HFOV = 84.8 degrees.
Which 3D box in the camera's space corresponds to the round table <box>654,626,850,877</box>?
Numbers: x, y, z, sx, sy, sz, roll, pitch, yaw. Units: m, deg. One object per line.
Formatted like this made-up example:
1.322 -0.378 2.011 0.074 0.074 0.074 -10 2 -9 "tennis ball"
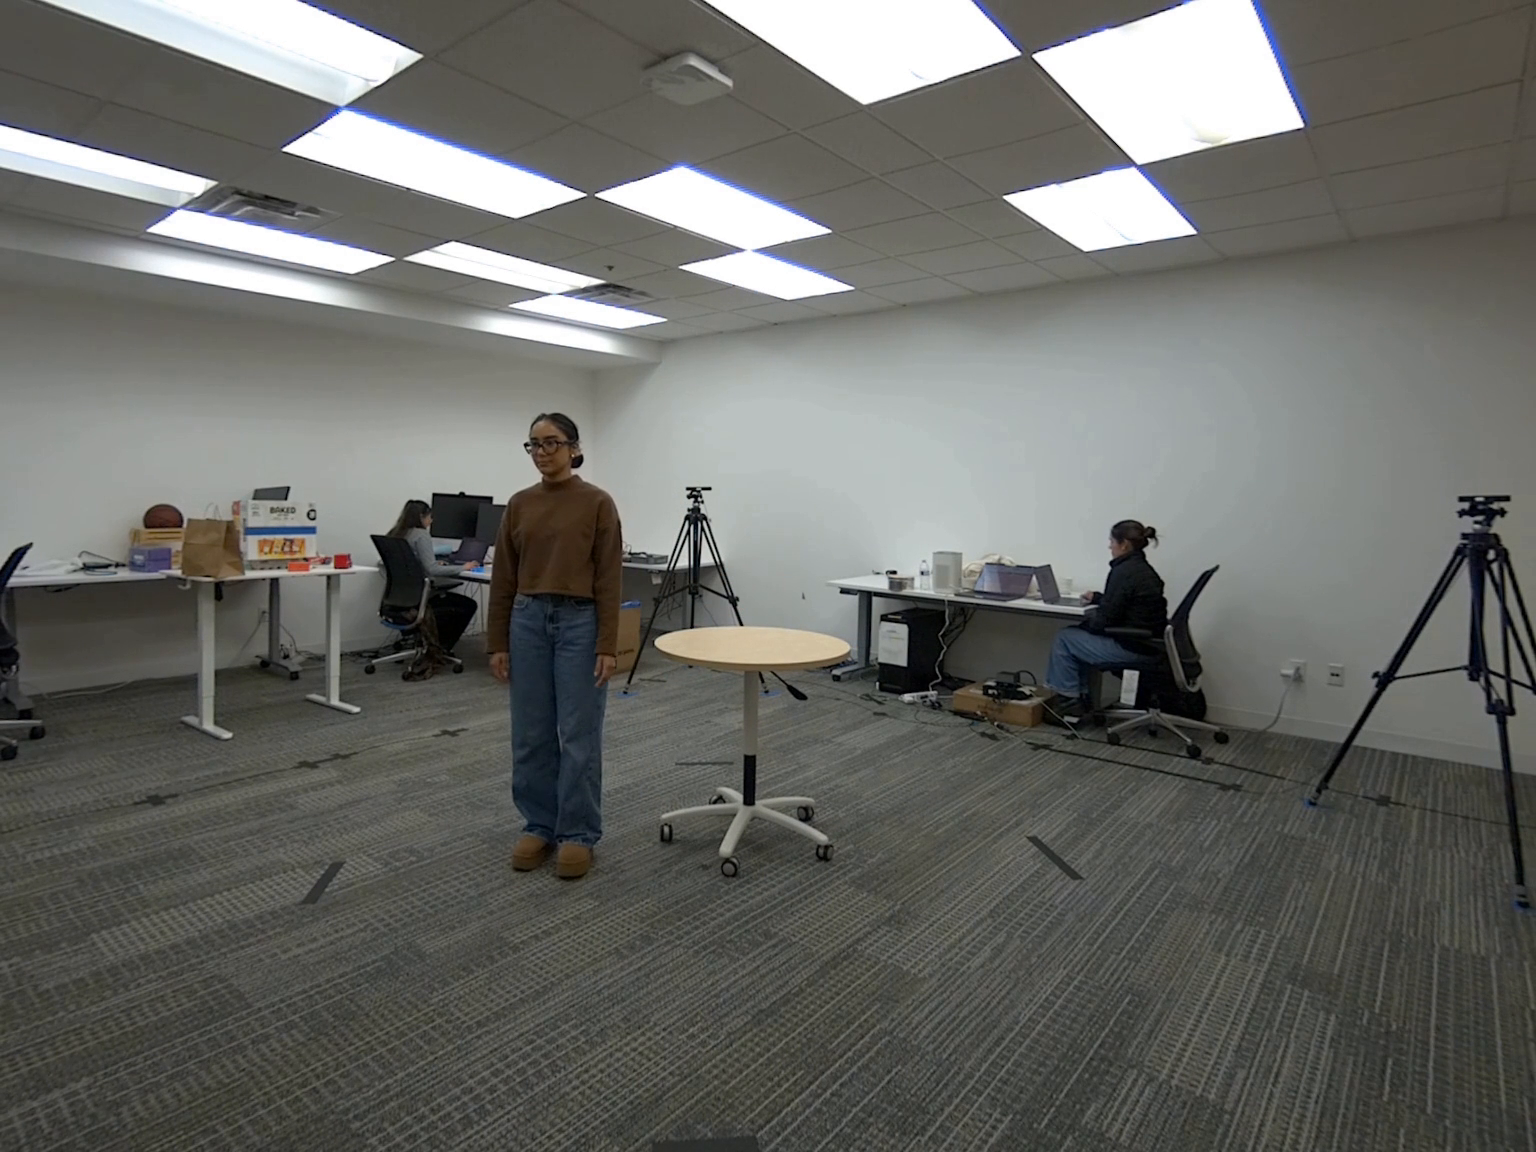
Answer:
-0.082 0.657 3.364 0.763 0.791 0.768 1 4 -2 "round table"
